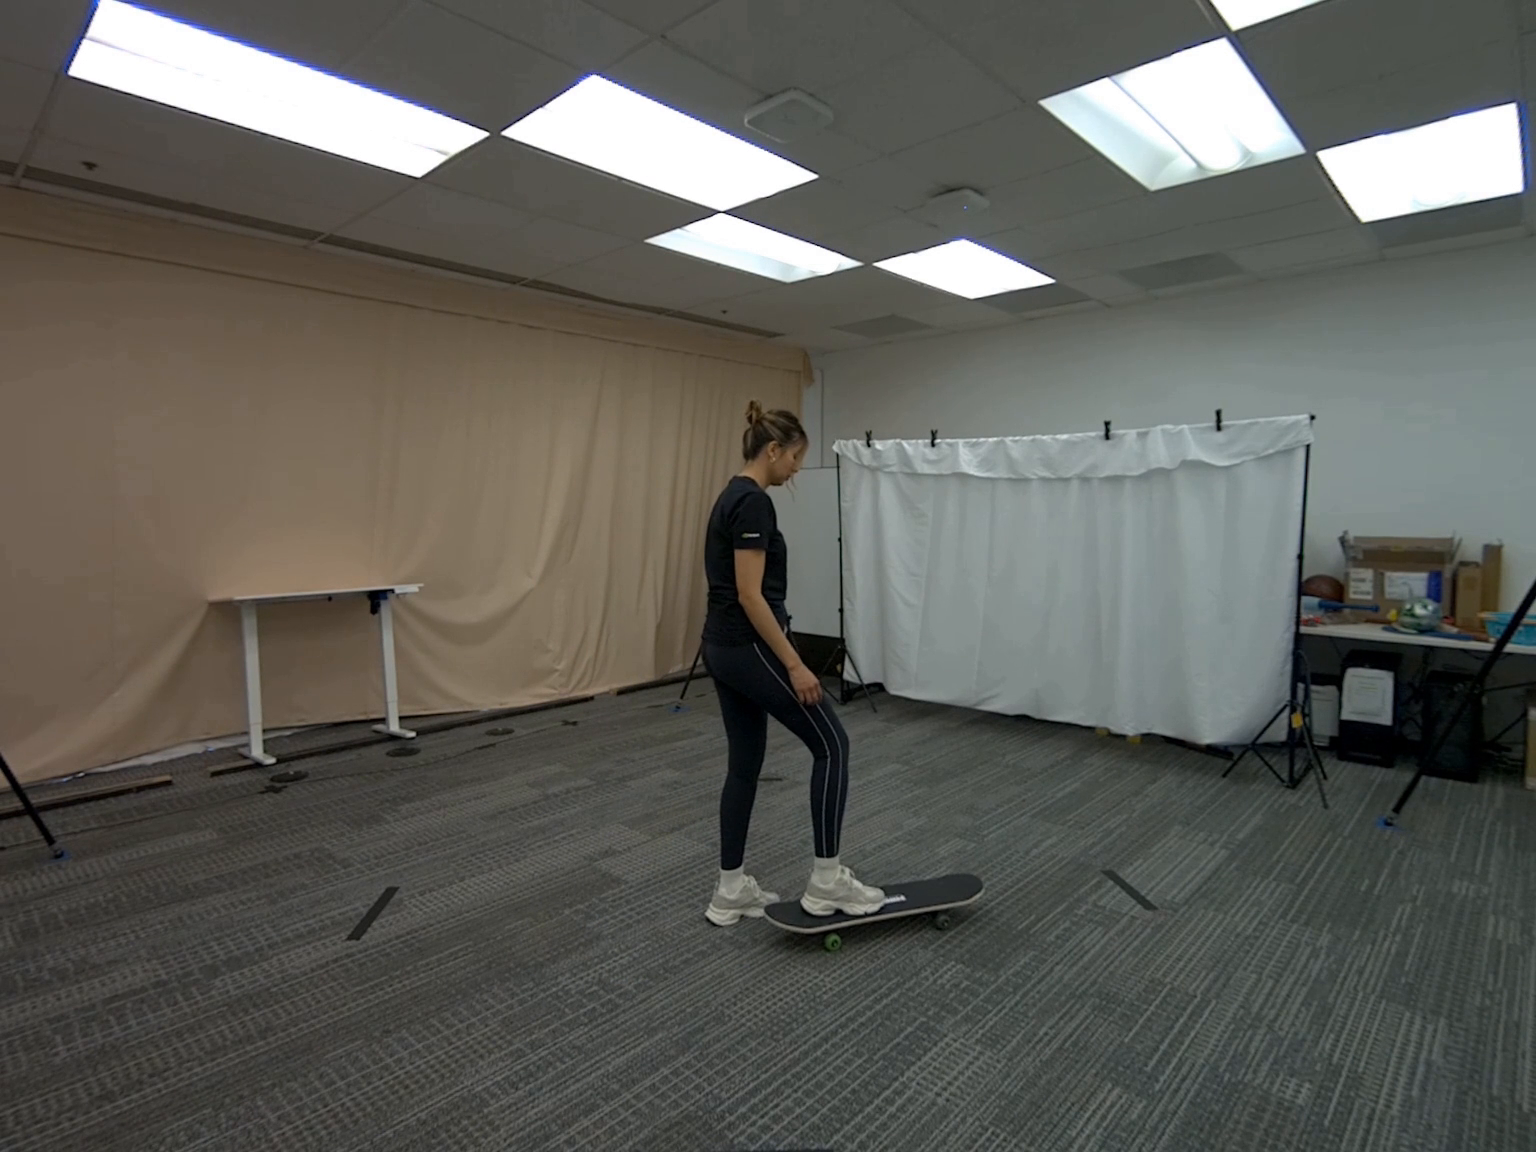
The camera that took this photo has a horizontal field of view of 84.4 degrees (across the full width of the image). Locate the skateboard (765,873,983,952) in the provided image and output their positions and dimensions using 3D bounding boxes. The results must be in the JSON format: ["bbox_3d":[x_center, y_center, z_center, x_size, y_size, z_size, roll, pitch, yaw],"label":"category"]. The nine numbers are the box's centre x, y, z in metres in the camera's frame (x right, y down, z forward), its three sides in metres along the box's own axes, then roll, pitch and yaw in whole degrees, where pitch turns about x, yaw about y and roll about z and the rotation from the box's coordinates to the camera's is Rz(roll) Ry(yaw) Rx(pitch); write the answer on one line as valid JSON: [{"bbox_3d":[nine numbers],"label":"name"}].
[{"bbox_3d":[0.367,1.107,2.766,0.771,0.110,0.197,-1,4,-18],"label":"skateboard"}]
